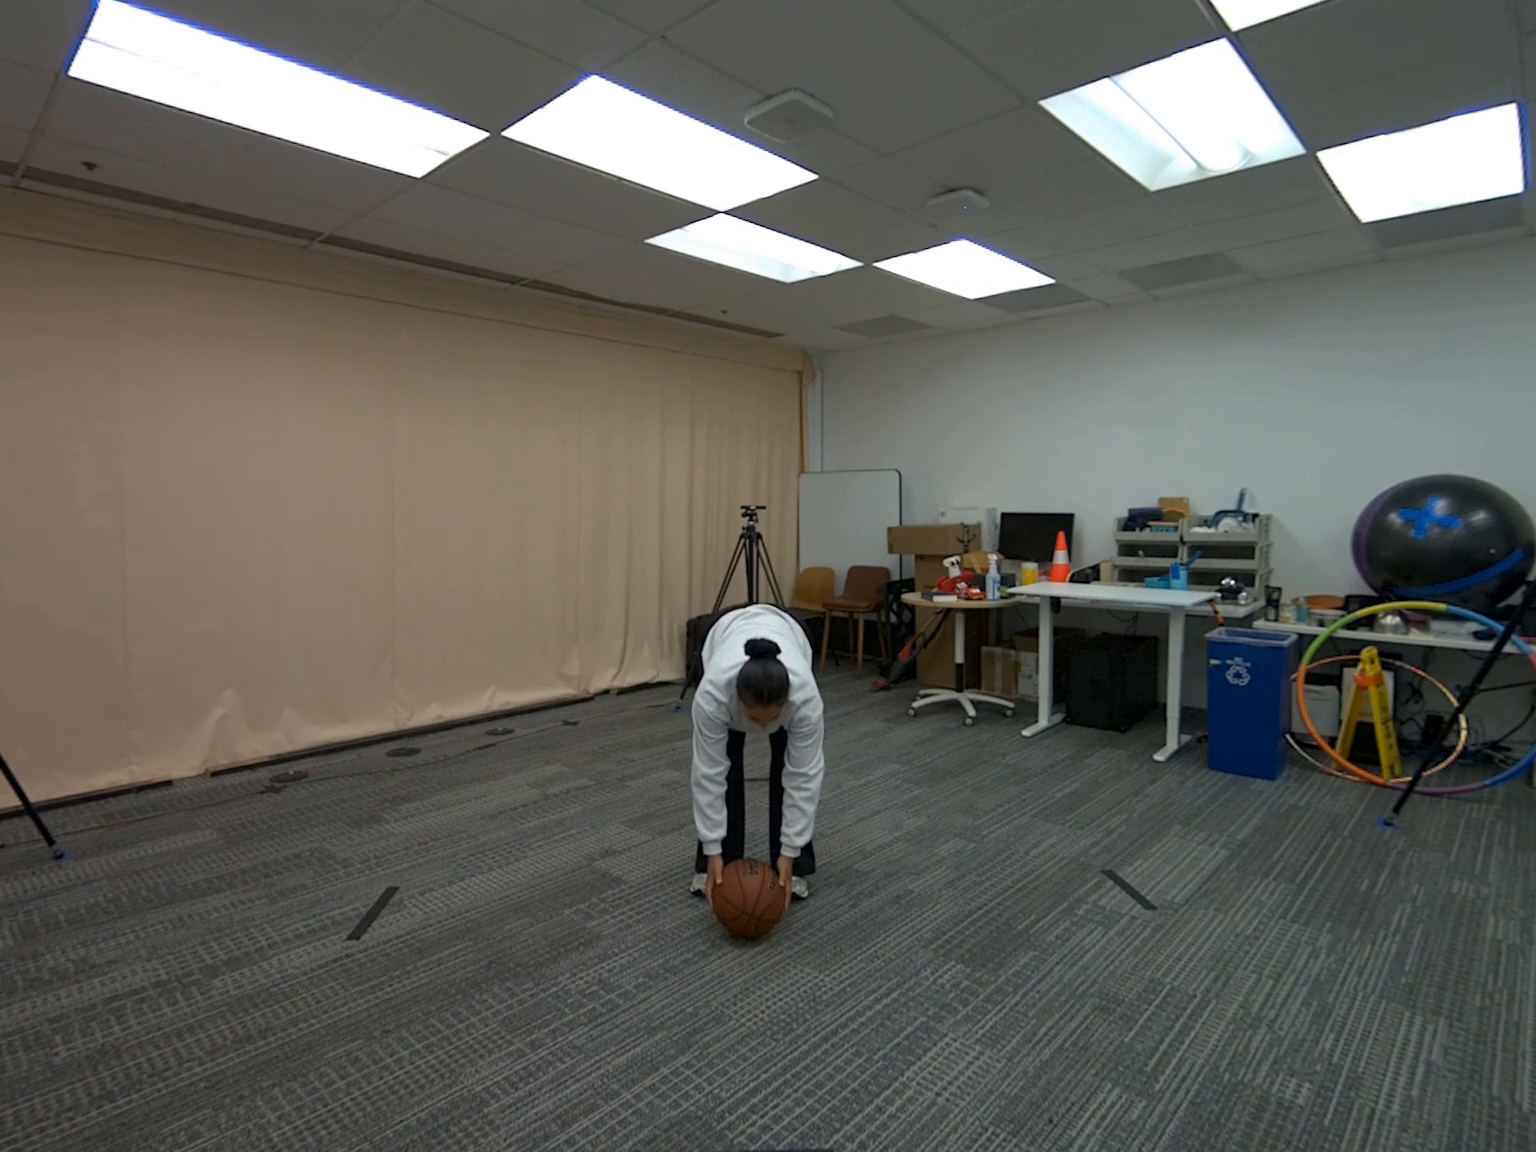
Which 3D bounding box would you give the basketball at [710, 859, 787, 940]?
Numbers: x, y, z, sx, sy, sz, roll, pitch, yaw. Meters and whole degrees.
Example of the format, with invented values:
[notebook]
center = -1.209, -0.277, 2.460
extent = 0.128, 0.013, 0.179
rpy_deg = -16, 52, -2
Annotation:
[basketball]
center = -0.052, 1.015, 2.727
extent = 0.236, 0.235, 0.237
rpy_deg = 0, 4, -2
